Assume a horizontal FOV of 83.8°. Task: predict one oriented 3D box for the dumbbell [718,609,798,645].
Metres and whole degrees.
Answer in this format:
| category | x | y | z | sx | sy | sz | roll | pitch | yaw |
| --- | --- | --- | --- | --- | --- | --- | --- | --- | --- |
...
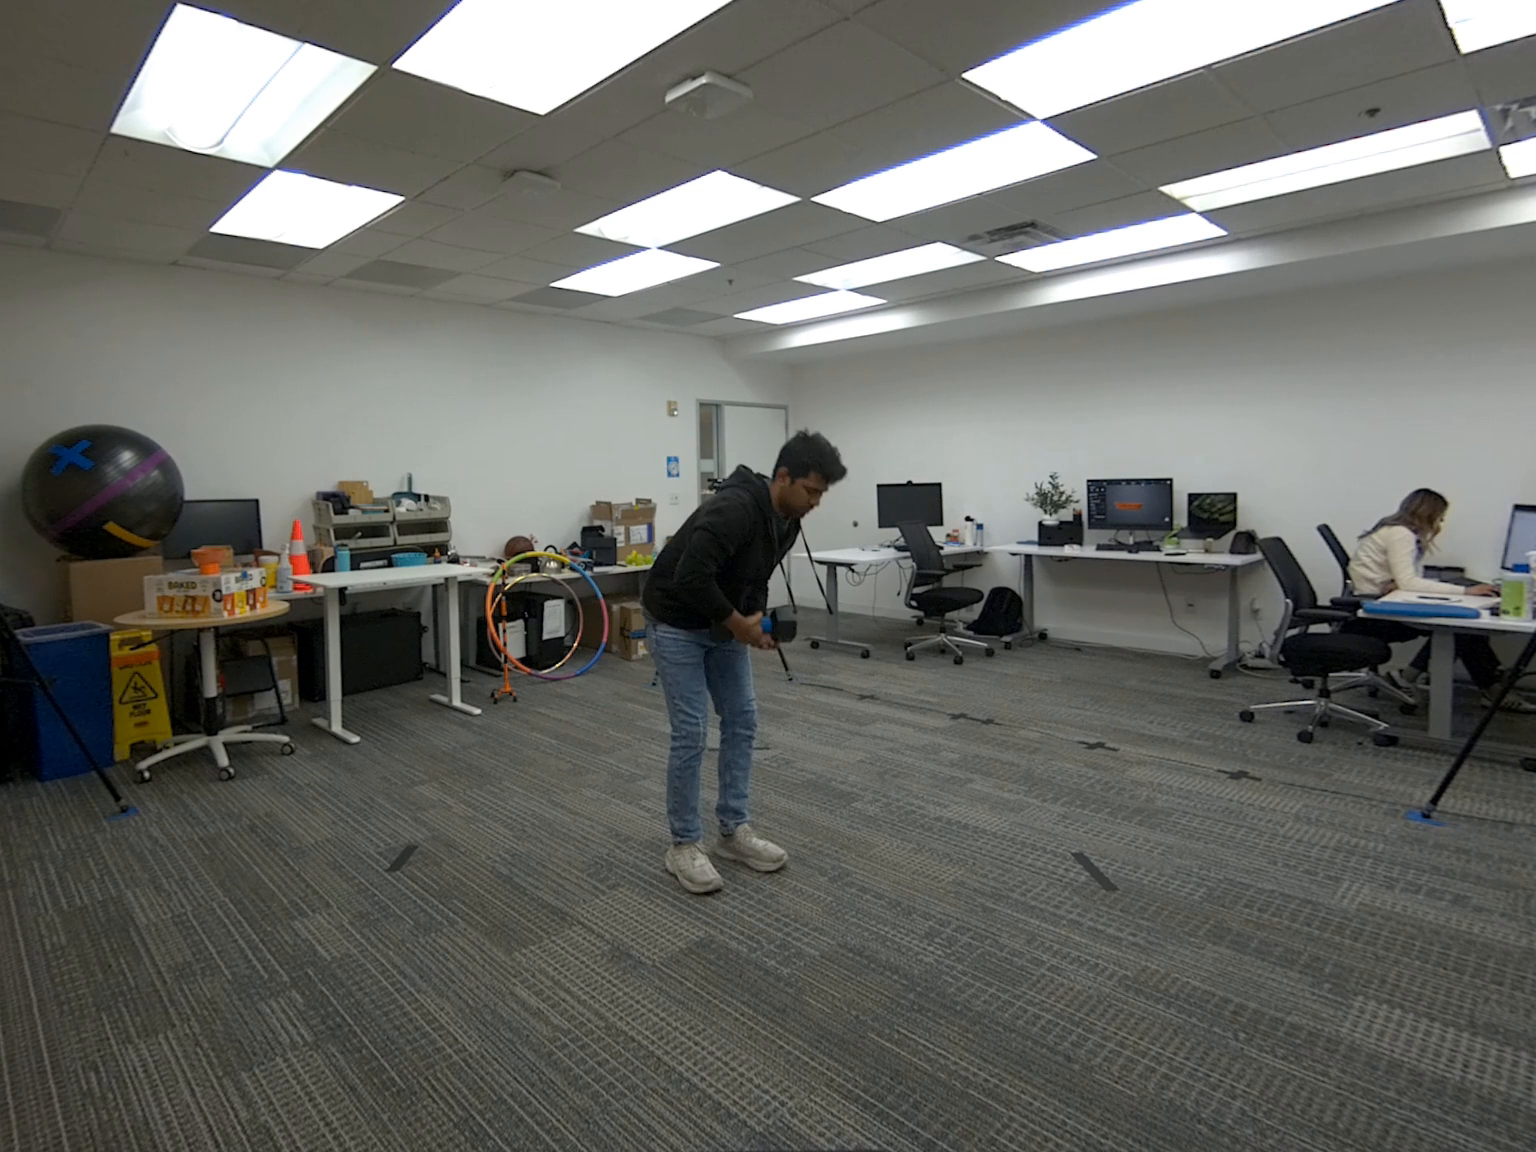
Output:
| category | x | y | z | sx | sy | sz | roll | pitch | yaw |
| --- | --- | --- | --- | --- | --- | --- | --- | --- | --- |
| dumbbell | -0.058 | 0.199 | 2.943 | 0.294 | 0.112 | 0.119 | -6 | -33 | 0 |
